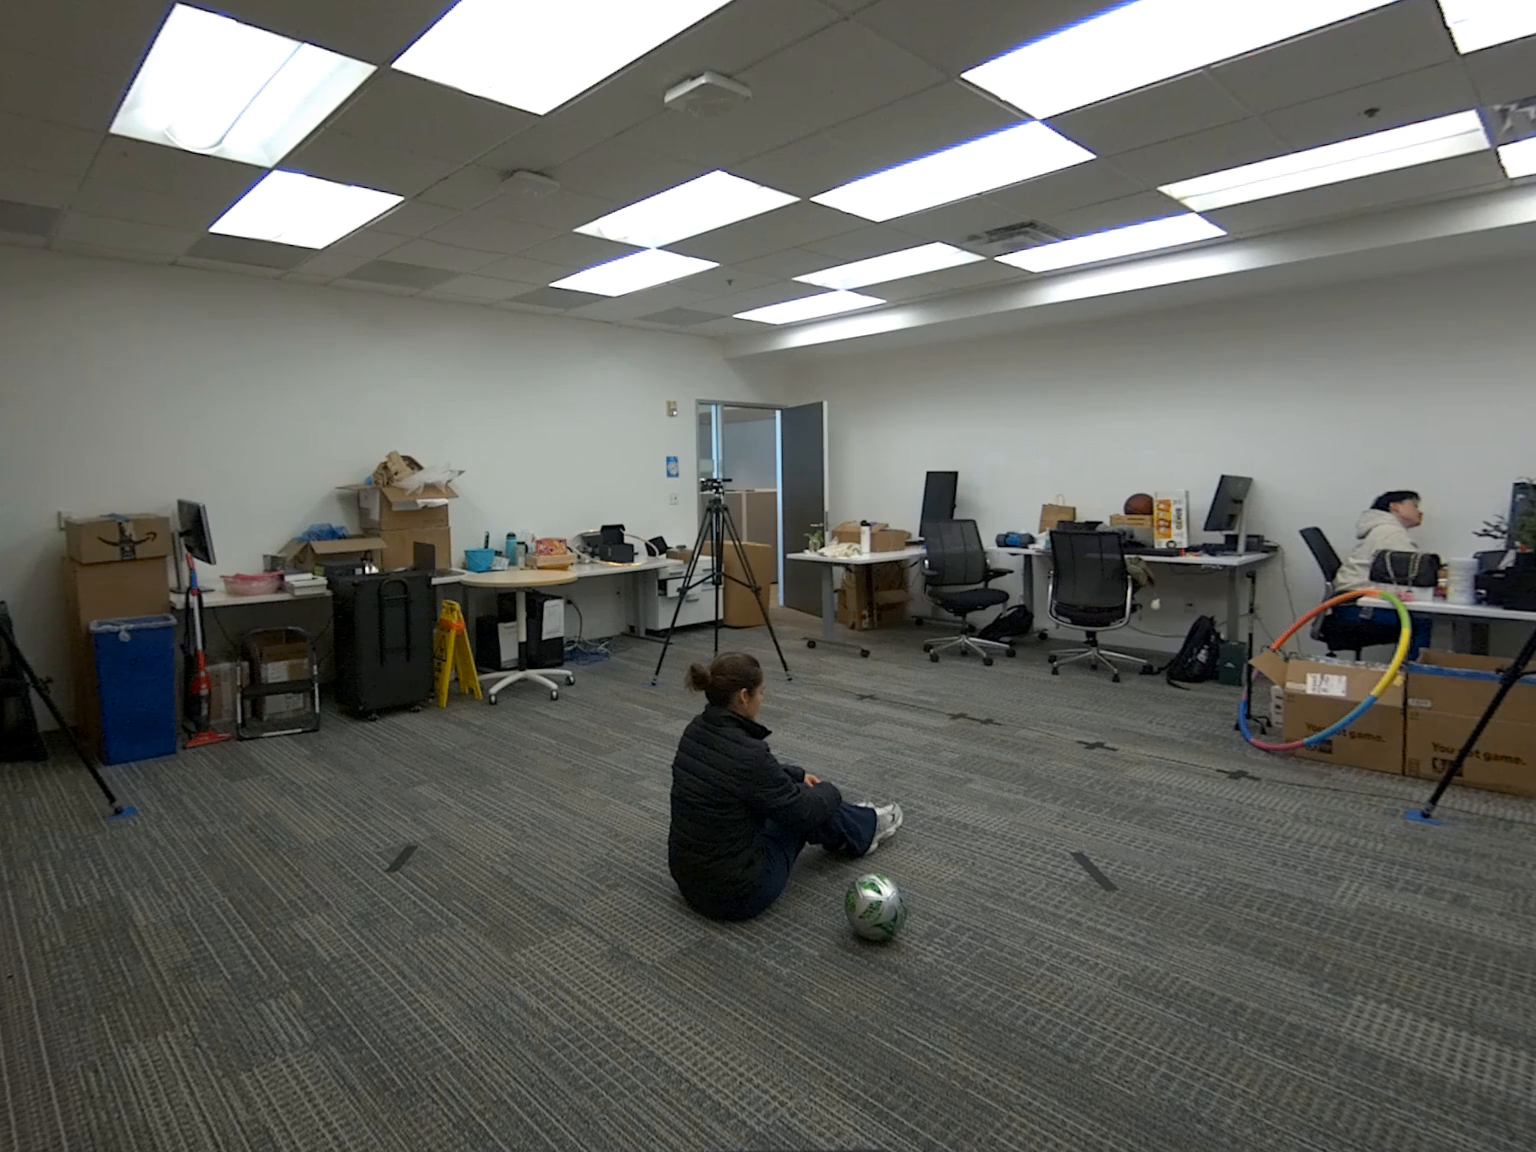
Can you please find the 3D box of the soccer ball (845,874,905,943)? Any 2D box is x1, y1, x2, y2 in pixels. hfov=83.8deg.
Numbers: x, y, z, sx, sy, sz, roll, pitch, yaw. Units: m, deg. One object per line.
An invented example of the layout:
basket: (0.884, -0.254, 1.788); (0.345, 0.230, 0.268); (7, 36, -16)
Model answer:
soccer ball: (0.320, 0.997, 2.602); (0.187, 0.187, 0.188); (0, 1, -2)
